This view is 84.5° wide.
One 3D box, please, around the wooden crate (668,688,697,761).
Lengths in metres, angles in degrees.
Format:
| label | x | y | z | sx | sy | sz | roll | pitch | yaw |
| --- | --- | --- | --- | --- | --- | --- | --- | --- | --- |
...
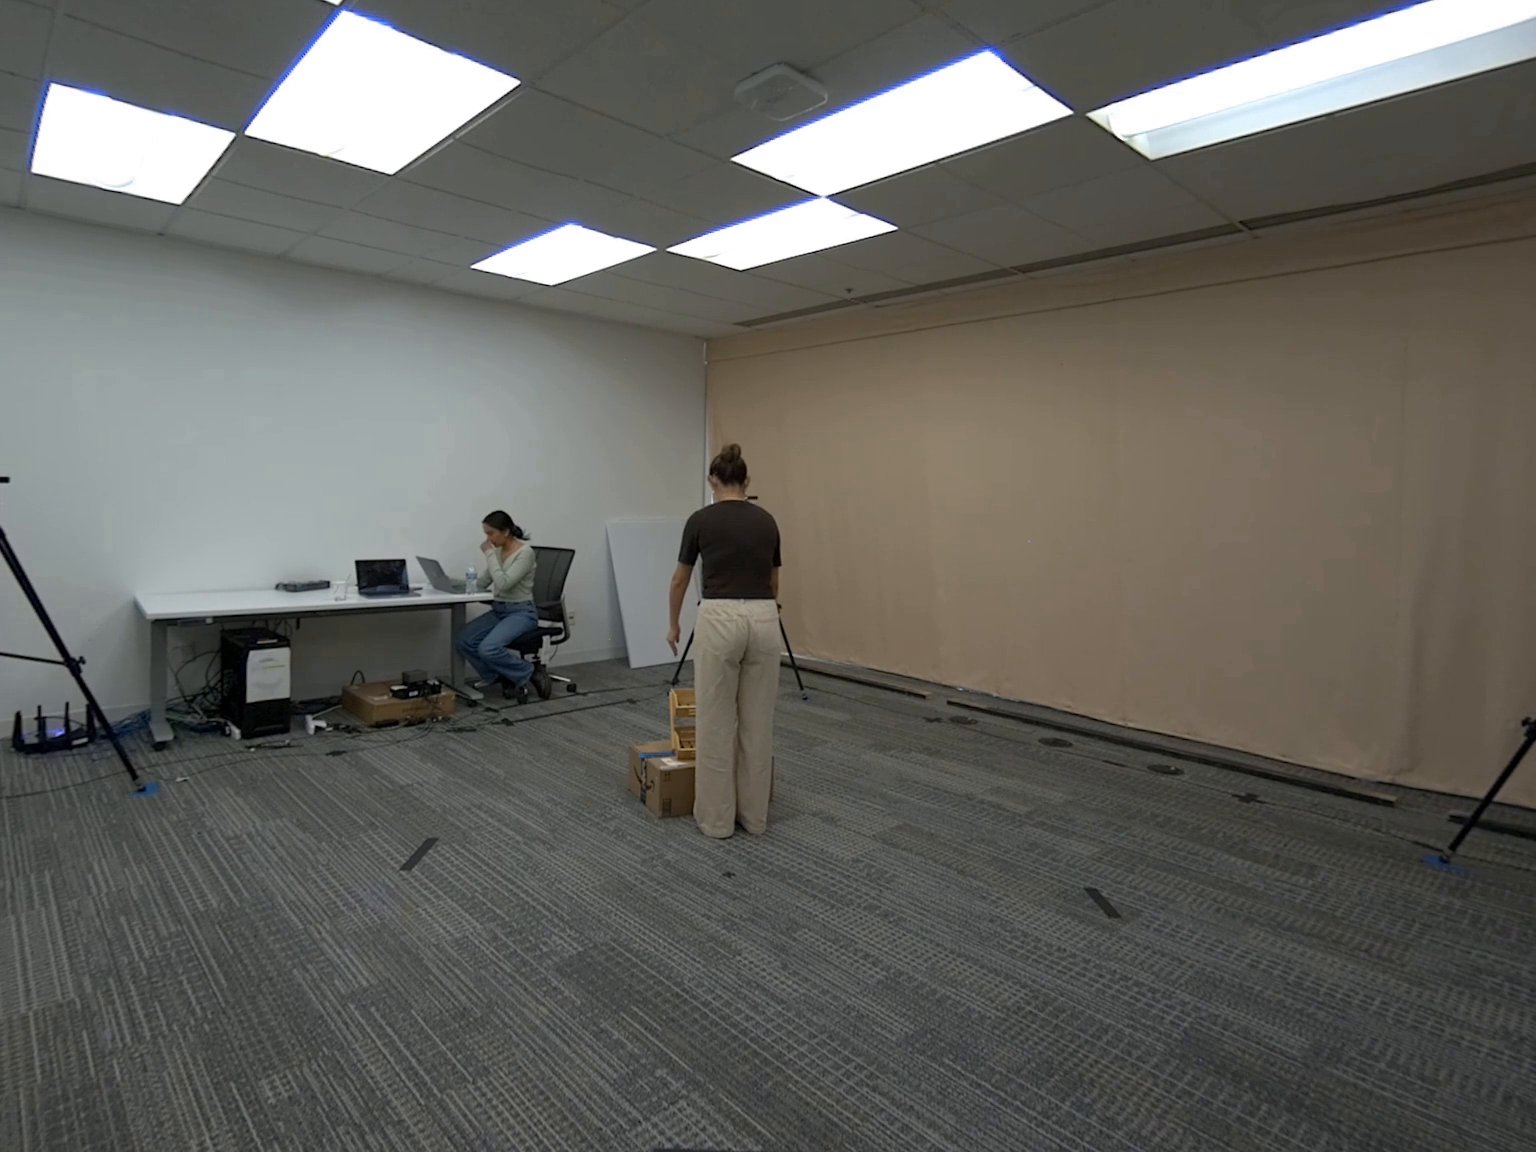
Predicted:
| label | x | y | z | sx | sy | sz | roll | pitch | yaw |
| --- | --- | --- | --- | --- | --- | --- | --- | --- | --- |
| wooden crate | -0.301 | 0.680 | 3.929 | 0.321 | 0.273 | 0.305 | 1 | 3 | -13 |
